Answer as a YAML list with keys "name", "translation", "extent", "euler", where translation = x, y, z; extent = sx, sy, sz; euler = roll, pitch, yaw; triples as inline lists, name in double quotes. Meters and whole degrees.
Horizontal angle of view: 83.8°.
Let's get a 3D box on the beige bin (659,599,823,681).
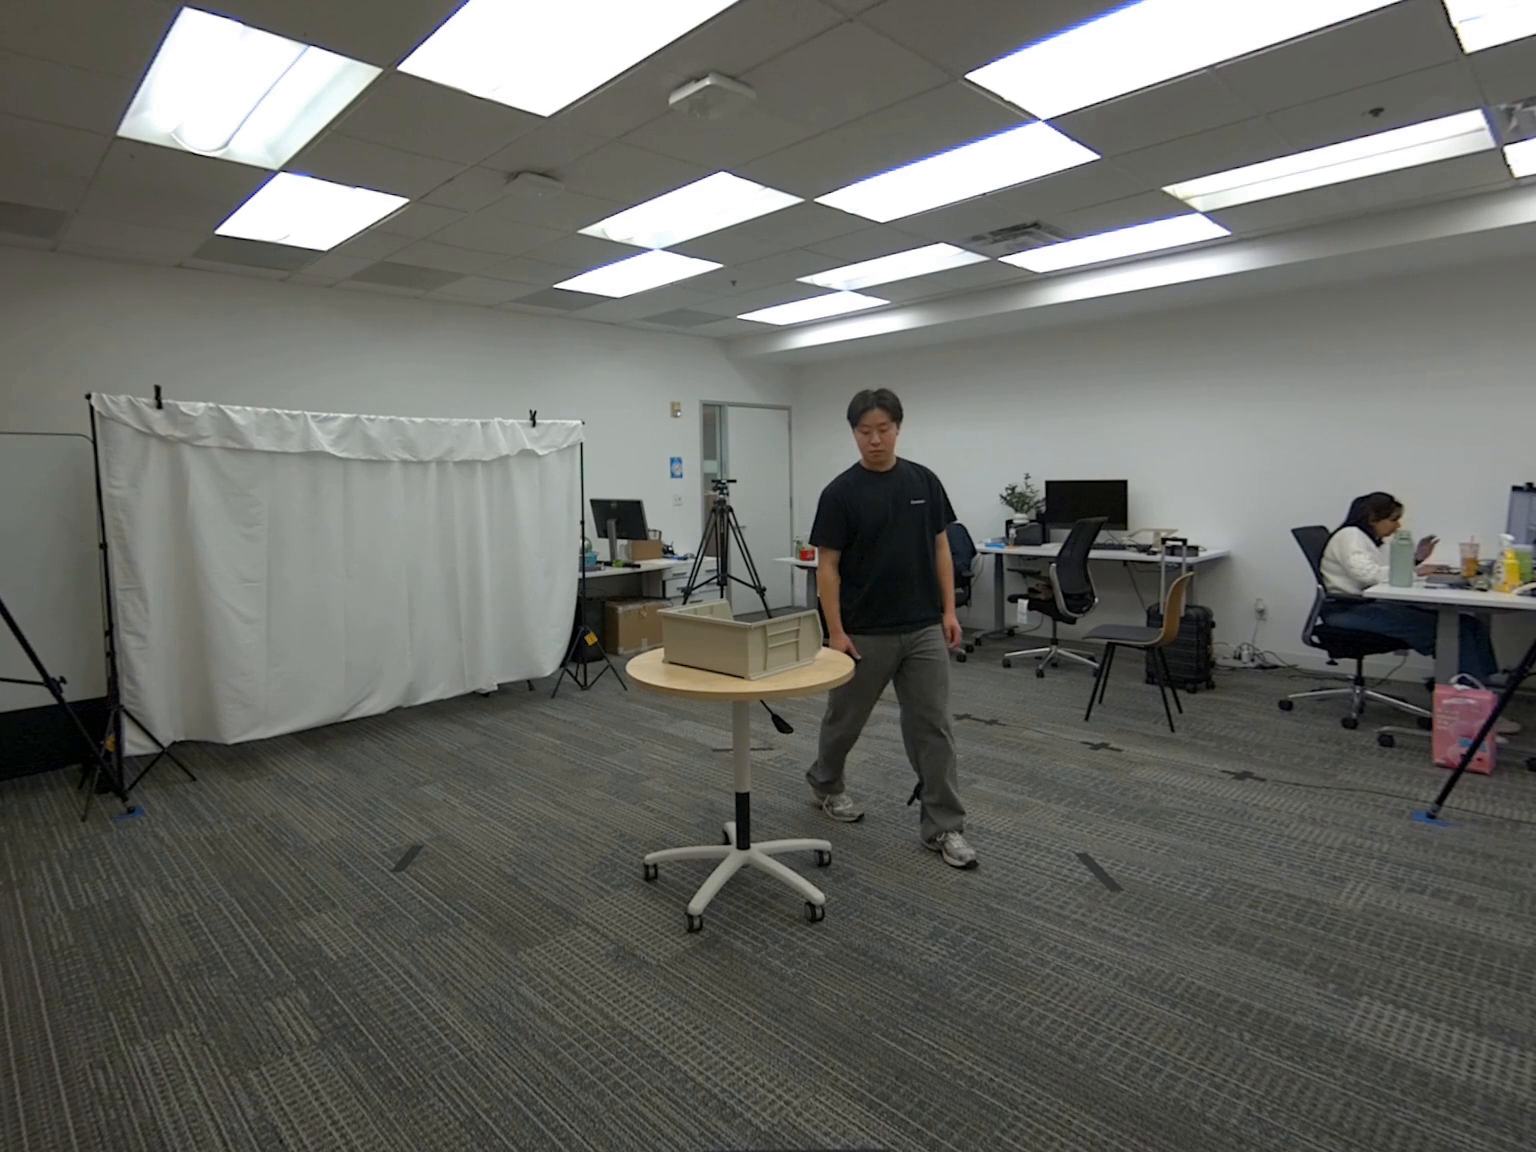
- name: "beige bin"
  translation: [-0.090, 0.202, 2.883]
  extent: [0.435, 0.188, 0.368]
  euler: [5, 10, 41]
